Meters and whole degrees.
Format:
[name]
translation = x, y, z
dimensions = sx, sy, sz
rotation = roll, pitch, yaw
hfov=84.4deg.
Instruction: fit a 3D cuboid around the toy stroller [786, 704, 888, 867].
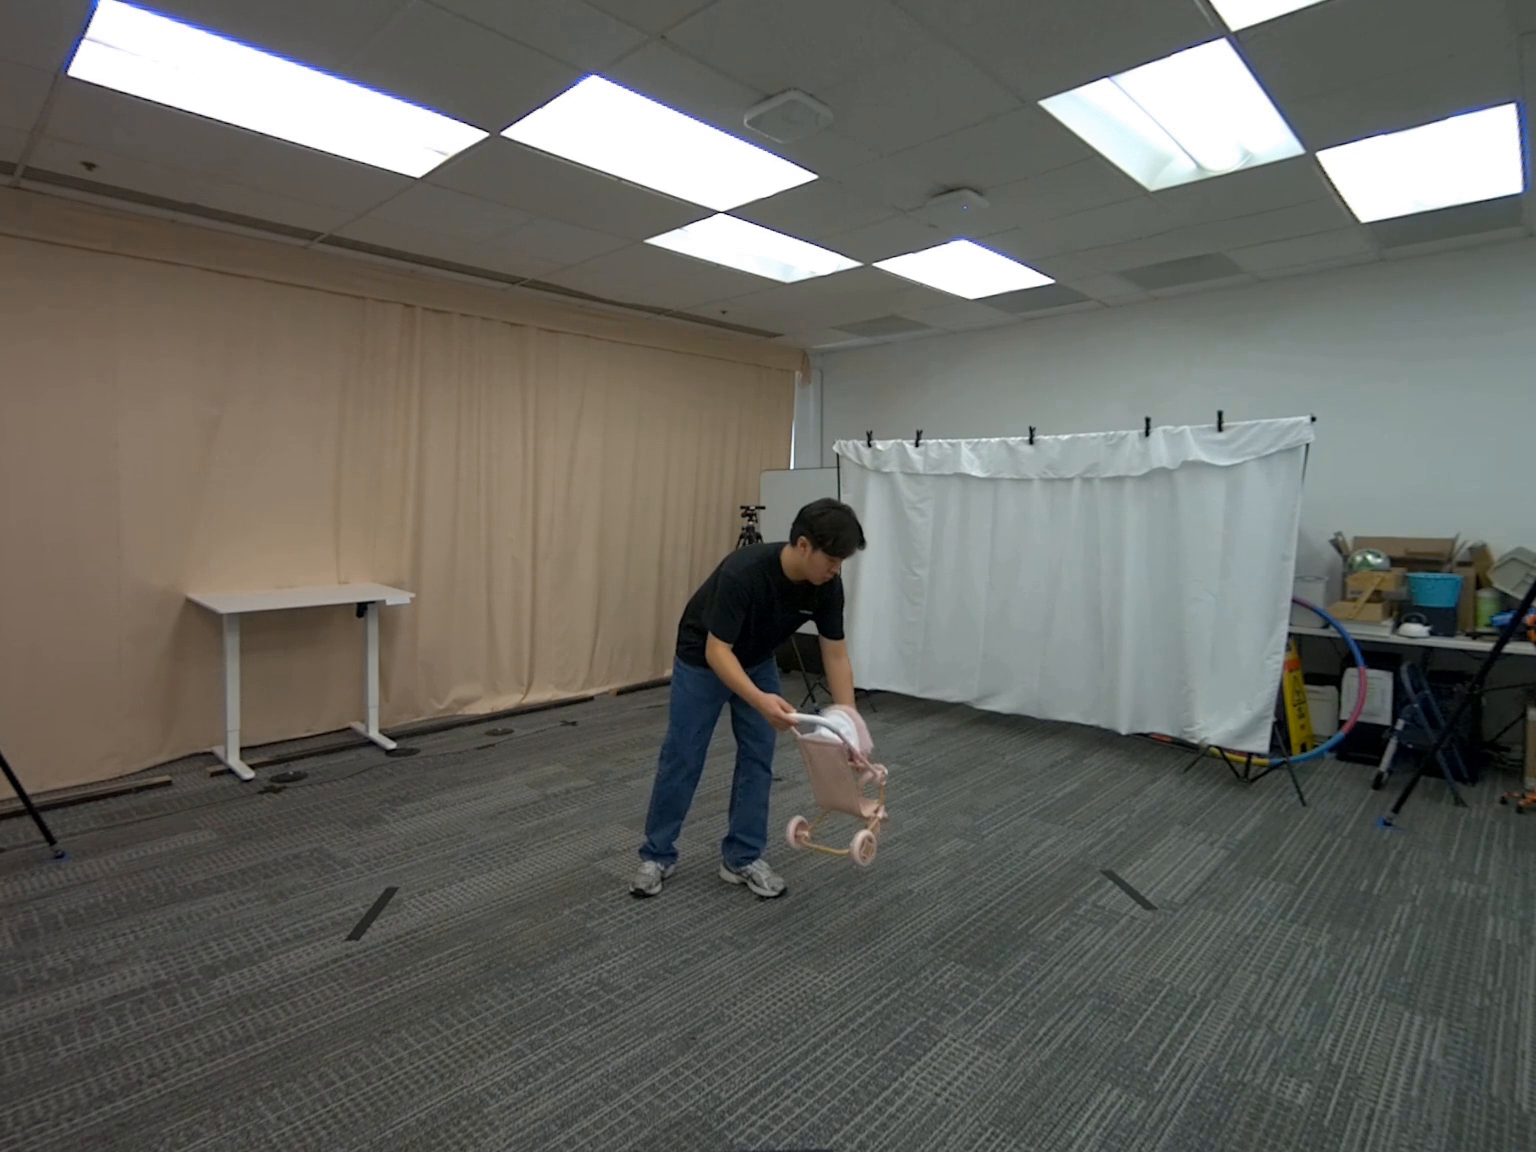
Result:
[toy stroller]
translation = 0.242, 0.655, 2.699
dimensions = 0.290, 0.533, 0.332
rotation = -3, 8, 45
